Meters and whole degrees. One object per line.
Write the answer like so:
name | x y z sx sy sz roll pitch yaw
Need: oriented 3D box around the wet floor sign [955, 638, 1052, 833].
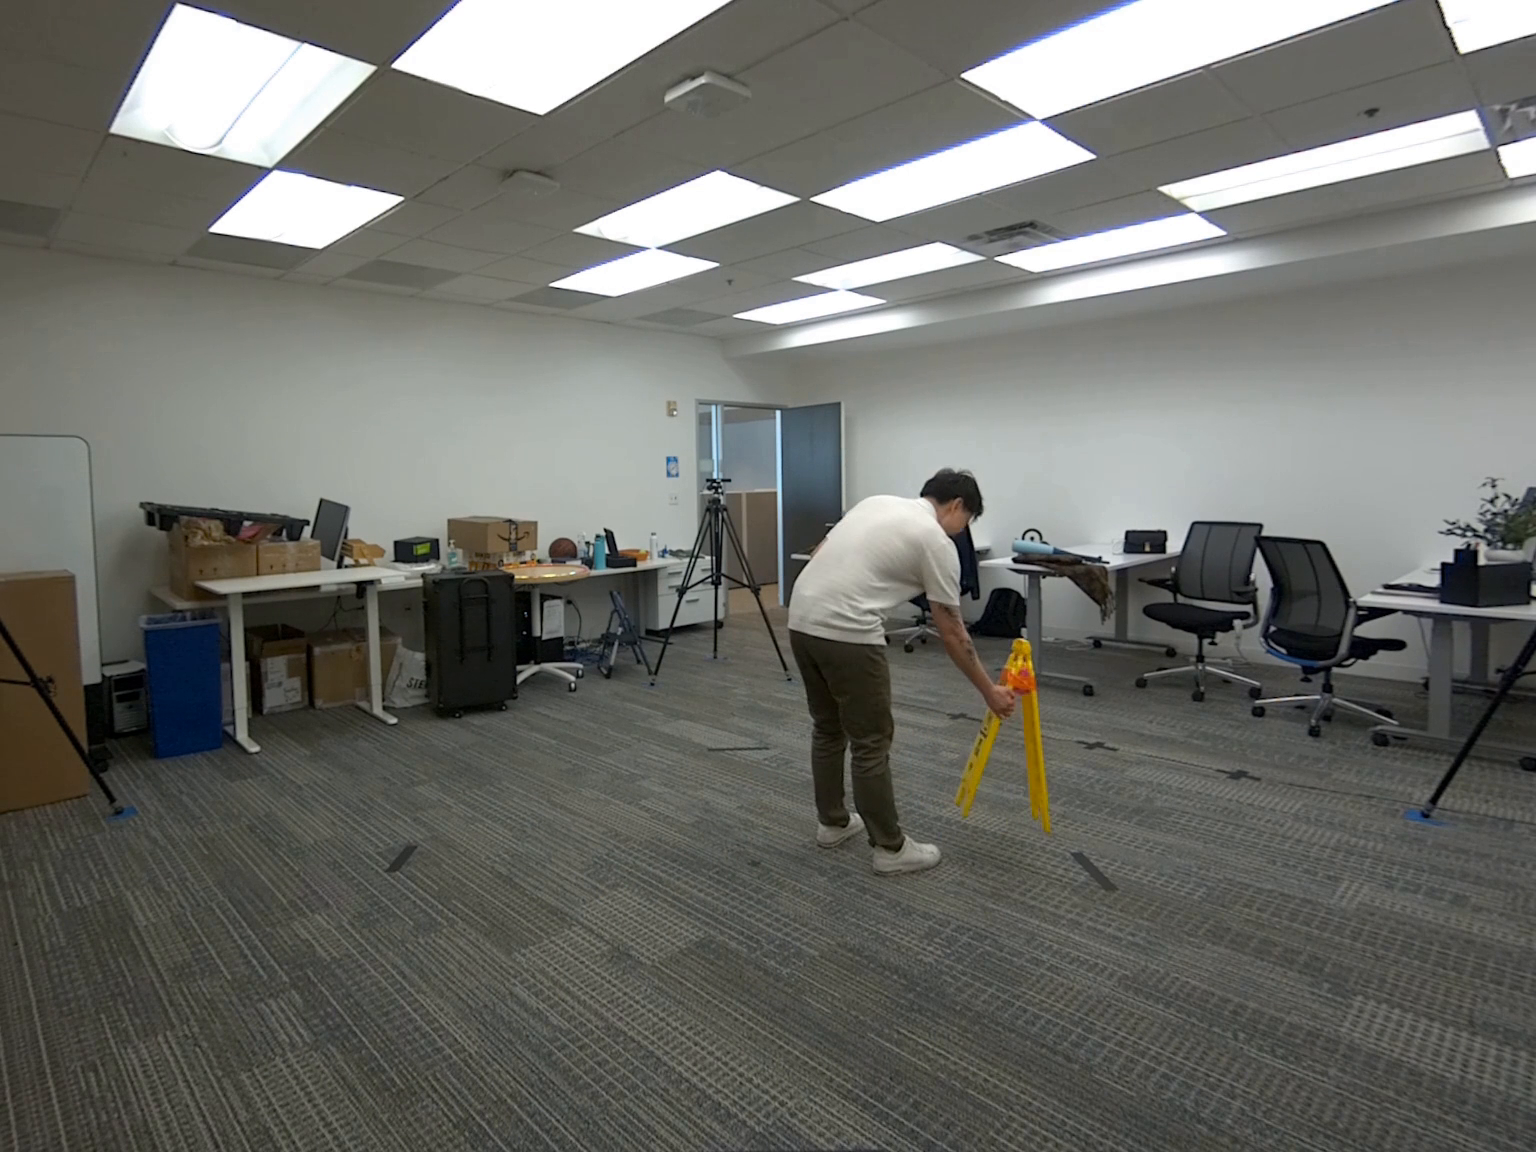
wet floor sign | 0.874 0.555 3.104 0.293 0.649 0.278 7 -6 8
